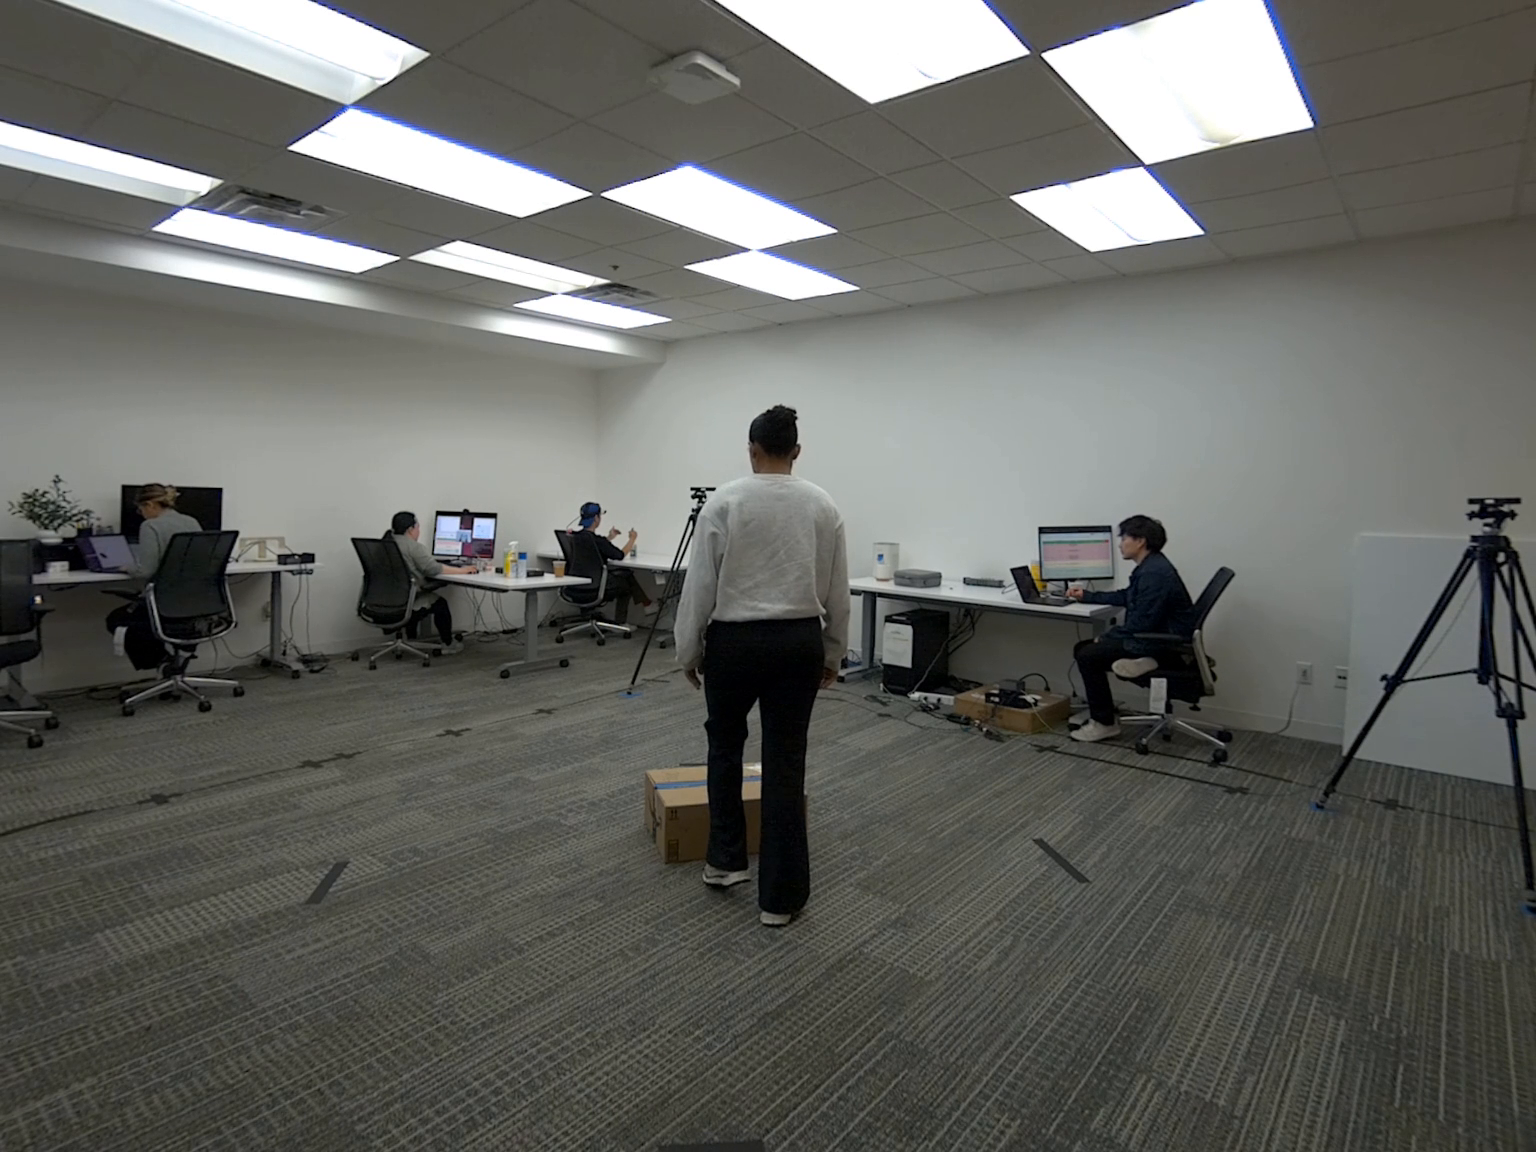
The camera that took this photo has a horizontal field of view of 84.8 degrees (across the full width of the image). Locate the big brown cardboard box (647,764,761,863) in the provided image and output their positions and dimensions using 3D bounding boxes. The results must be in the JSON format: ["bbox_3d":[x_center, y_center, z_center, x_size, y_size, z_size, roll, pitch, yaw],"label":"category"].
[{"bbox_3d":[-0.188,0.923,3.413,0.579,0.232,0.426,-2,5,-17],"label":"big brown cardboard box"}]
